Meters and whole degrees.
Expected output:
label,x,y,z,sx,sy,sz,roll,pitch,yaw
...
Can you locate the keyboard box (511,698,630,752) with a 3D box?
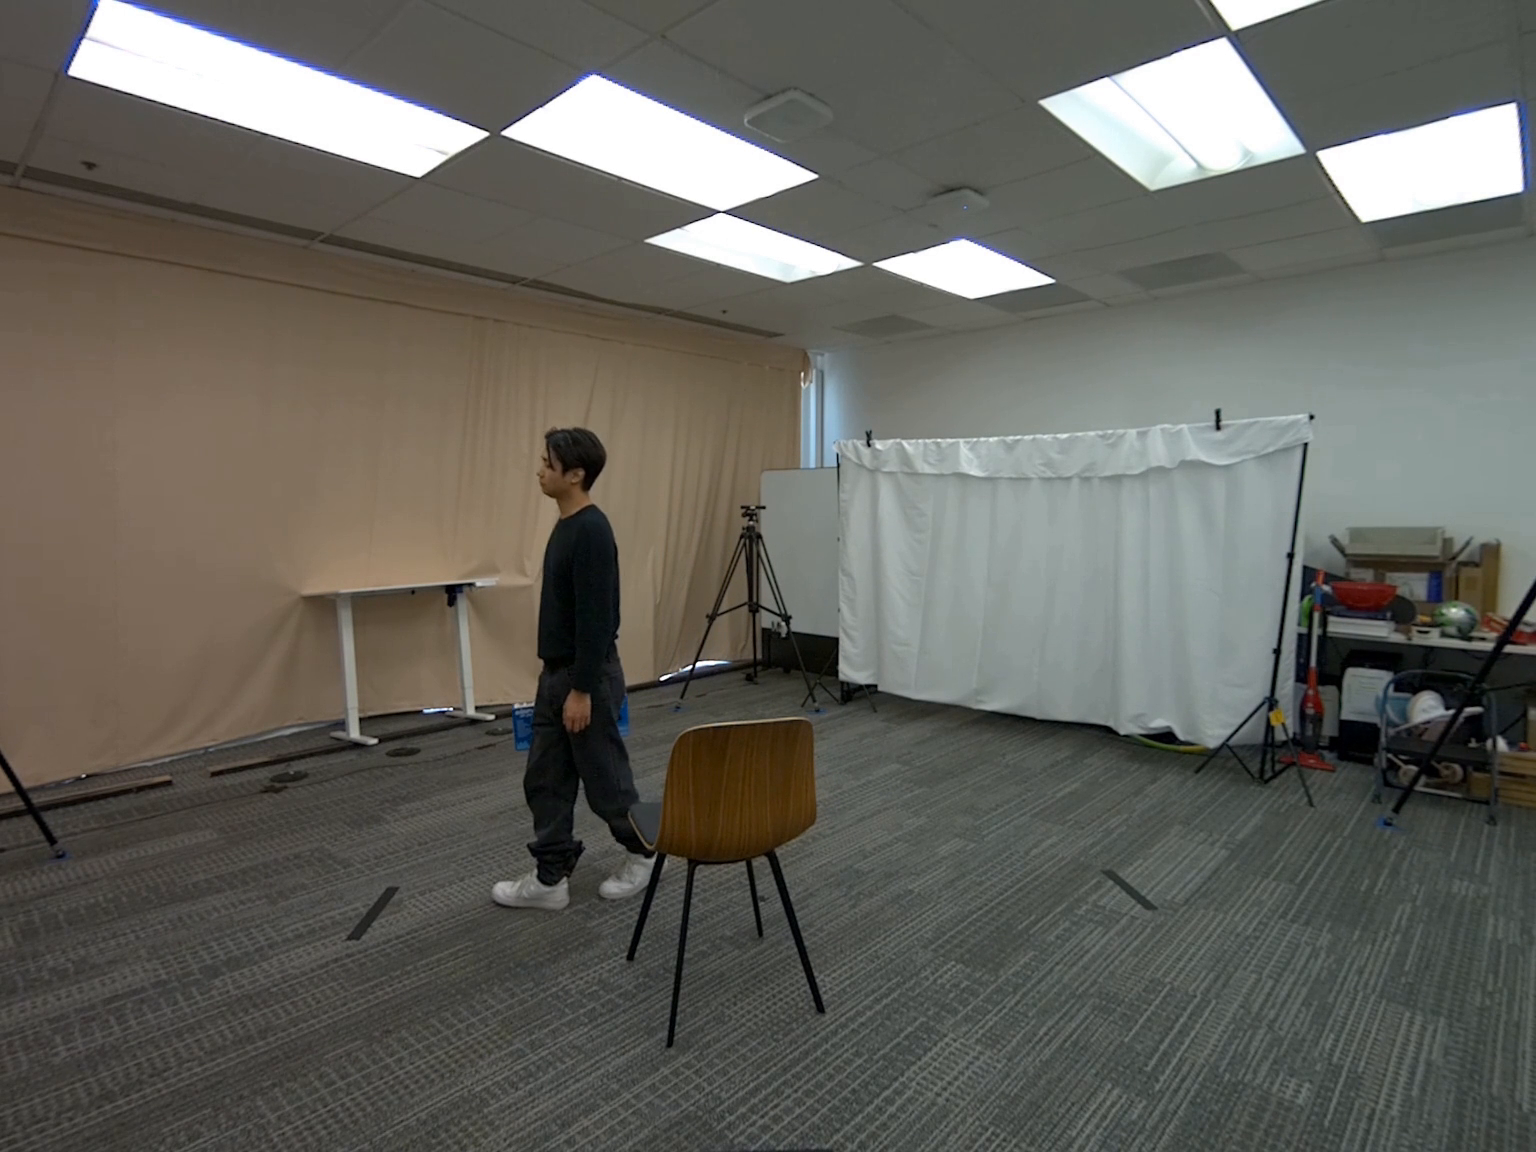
label,x,y,z,sx,sy,sz,roll,pitch,yaw
keyboard box,-0.773,0.553,3.240,0.432,0.175,0.060,-6,10,-10
